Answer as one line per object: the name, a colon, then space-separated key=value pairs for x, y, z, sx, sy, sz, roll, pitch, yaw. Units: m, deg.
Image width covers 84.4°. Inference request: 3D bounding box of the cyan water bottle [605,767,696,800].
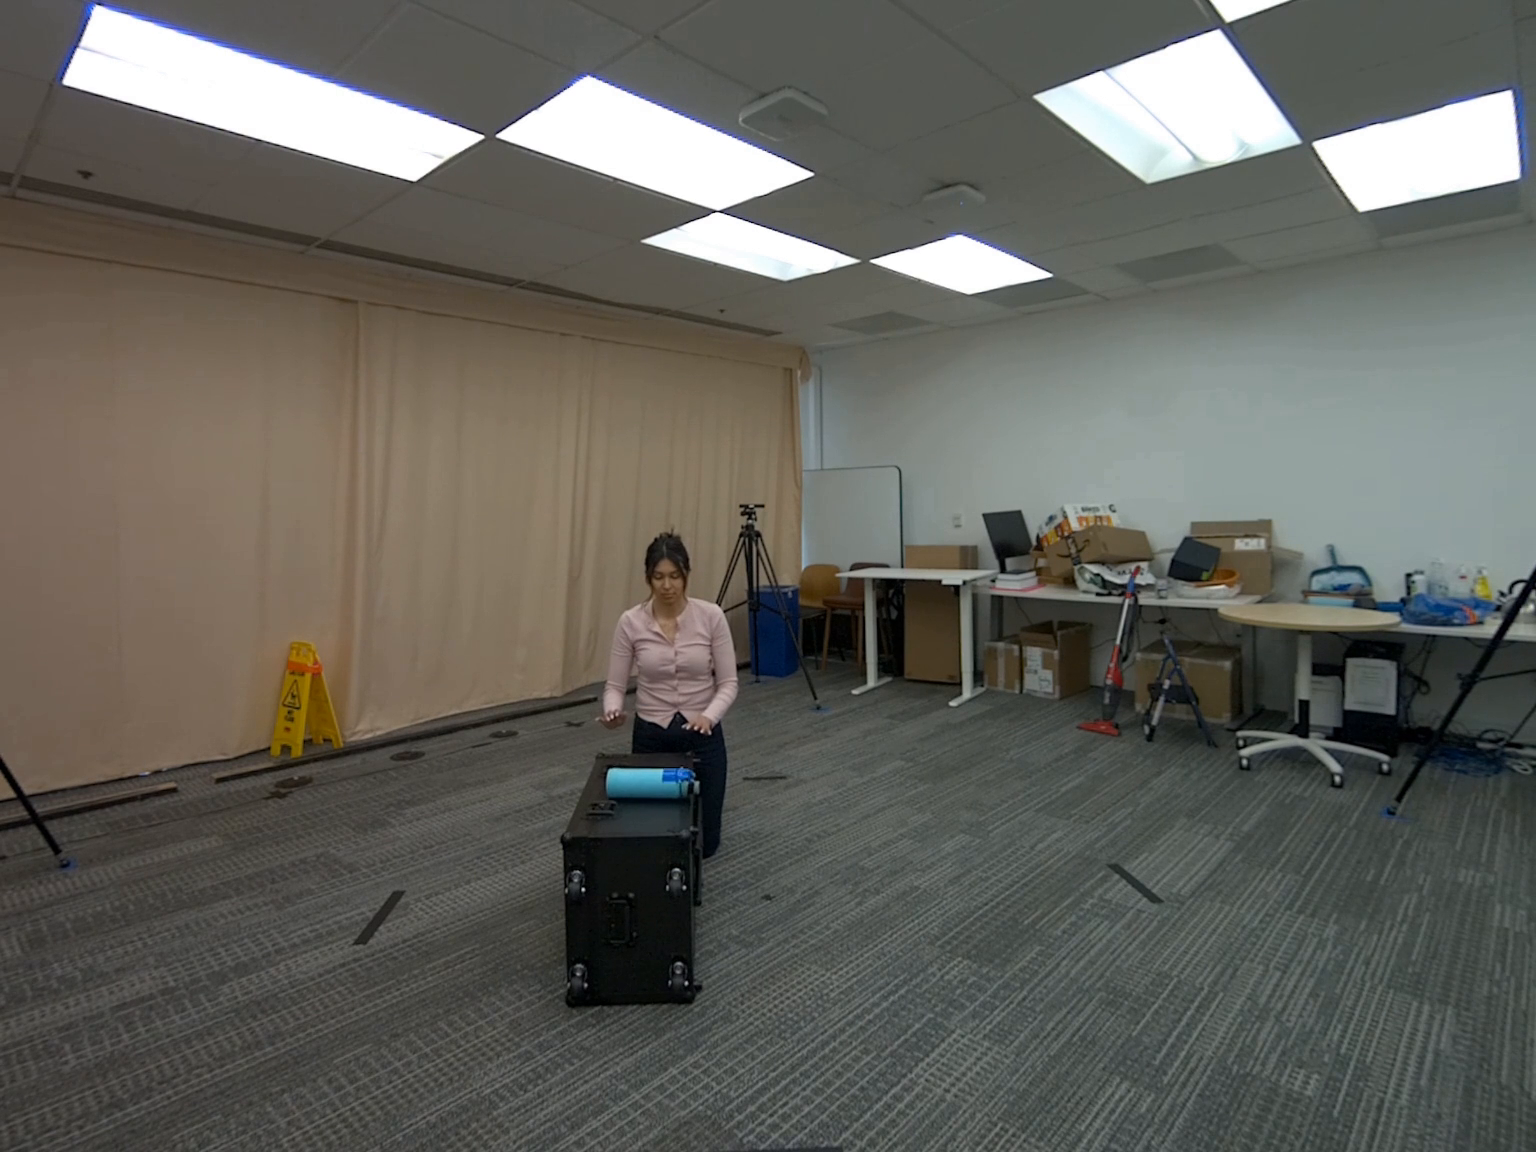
cyan water bottle: x=-0.365 y=0.645 z=2.631 sx=0.285 sy=0.092 sz=0.092 roll=-1 pitch=4 yaw=5
